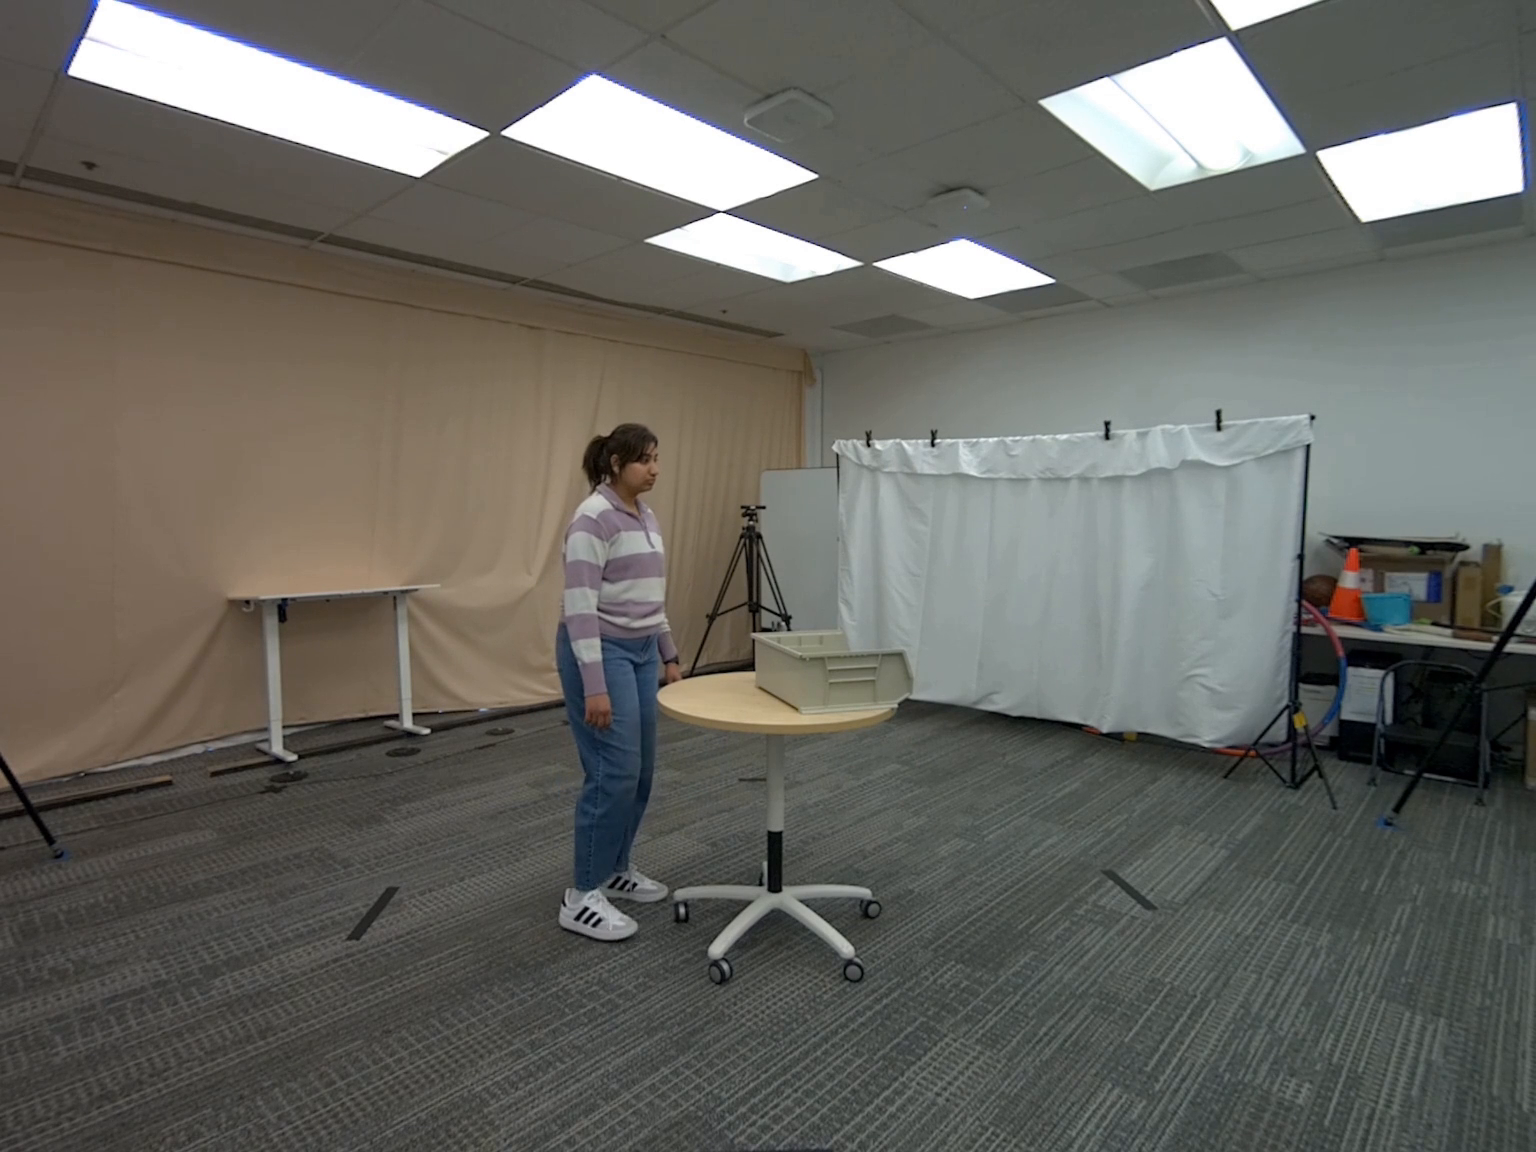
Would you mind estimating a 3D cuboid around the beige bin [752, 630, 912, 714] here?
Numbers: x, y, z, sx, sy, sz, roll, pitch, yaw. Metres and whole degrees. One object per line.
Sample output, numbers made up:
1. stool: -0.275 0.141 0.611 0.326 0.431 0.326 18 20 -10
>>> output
1. beige bin: 0.200 0.303 2.678 0.371 0.188 0.431 -1 5 -18
